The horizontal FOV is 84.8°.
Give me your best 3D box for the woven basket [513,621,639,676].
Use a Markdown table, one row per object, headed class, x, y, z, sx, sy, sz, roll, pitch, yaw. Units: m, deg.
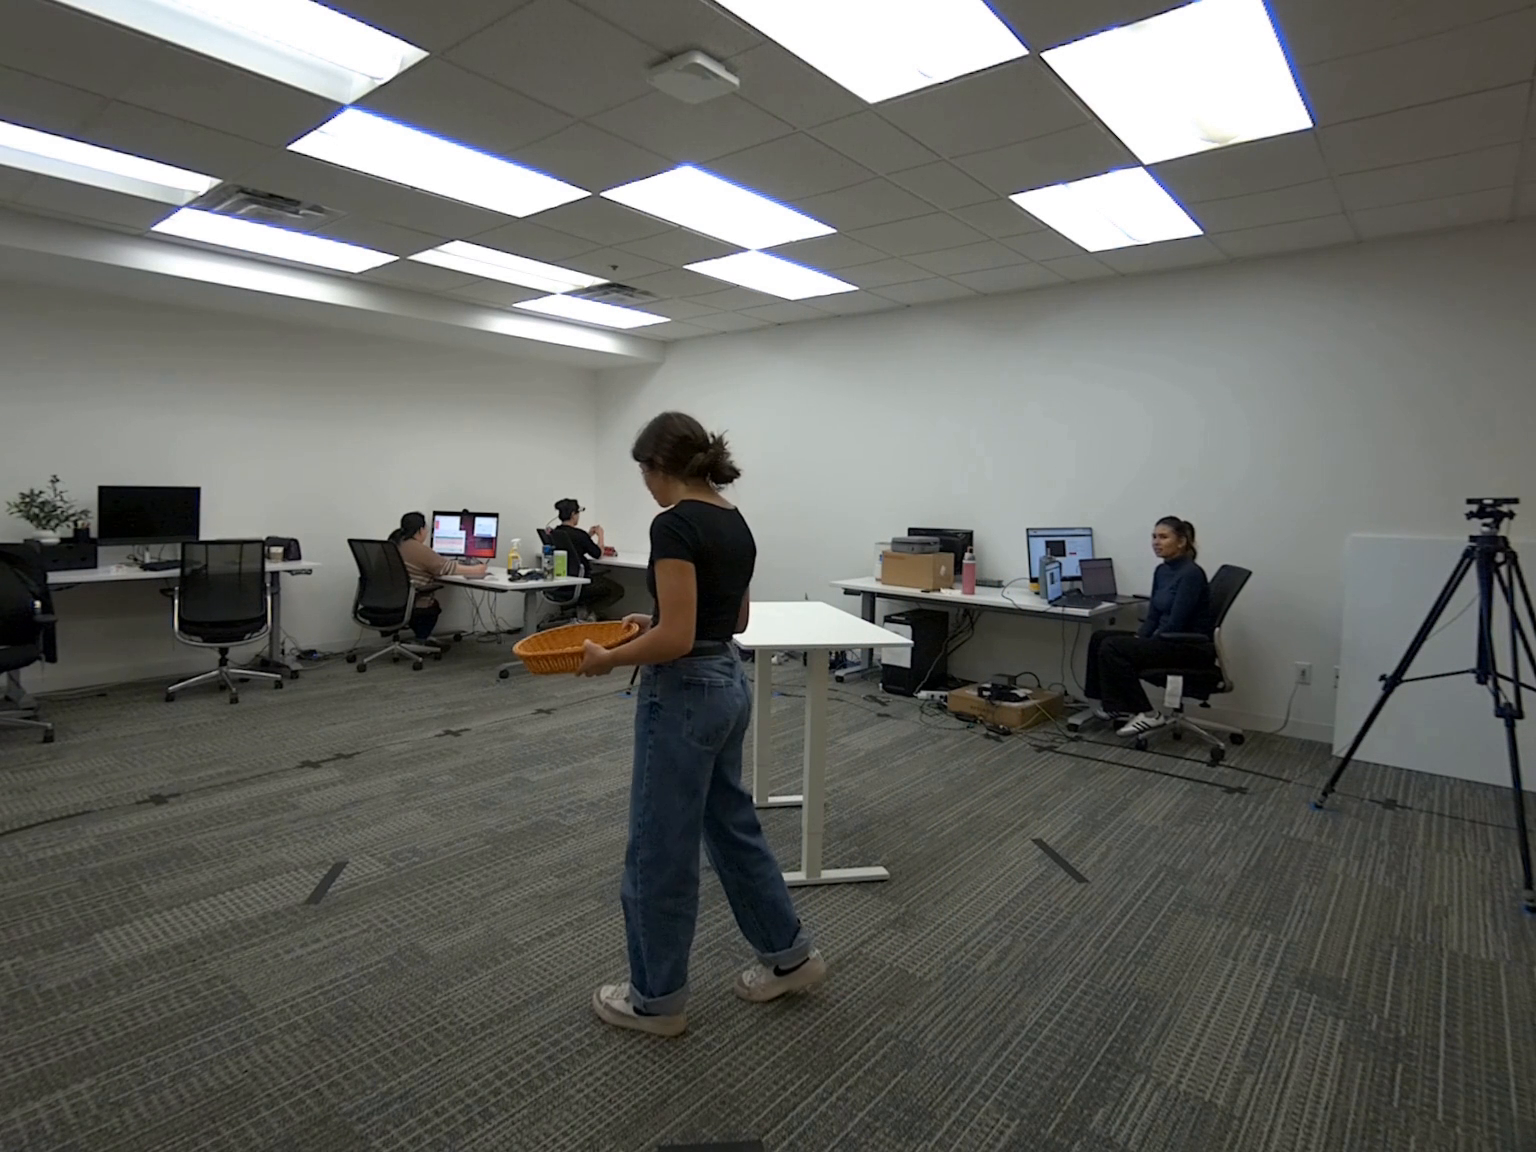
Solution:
| class | x | y | z | sx | sy | sz | roll | pitch | yaw |
| --- | --- | --- | --- | --- | --- | --- | --- | --- | --- |
| woven basket | -0.513 | 0.196 | 2.235 | 0.356 | 0.072 | 0.251 | -5 | 12 | 15 |
